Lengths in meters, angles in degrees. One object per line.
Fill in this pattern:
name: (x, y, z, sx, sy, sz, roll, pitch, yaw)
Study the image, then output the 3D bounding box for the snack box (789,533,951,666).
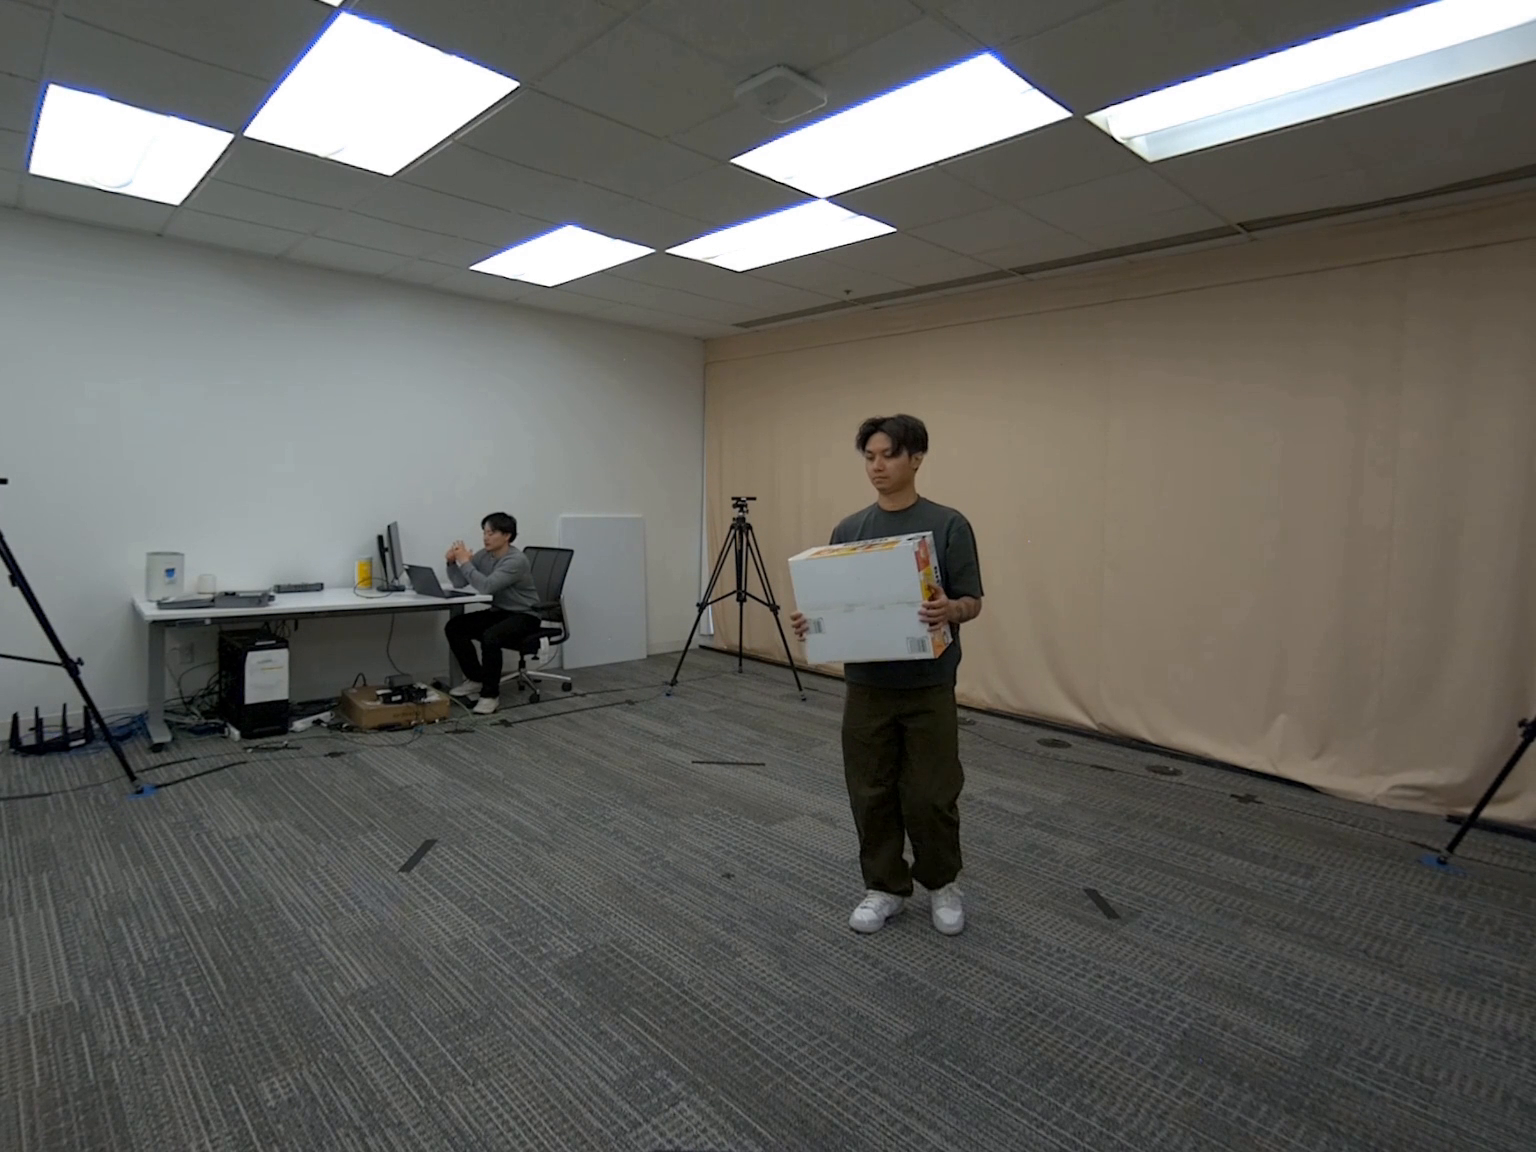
snack box: (0.303, 0.074, 2.569, 0.412, 0.339, 0.203, -8, 6, 29)
